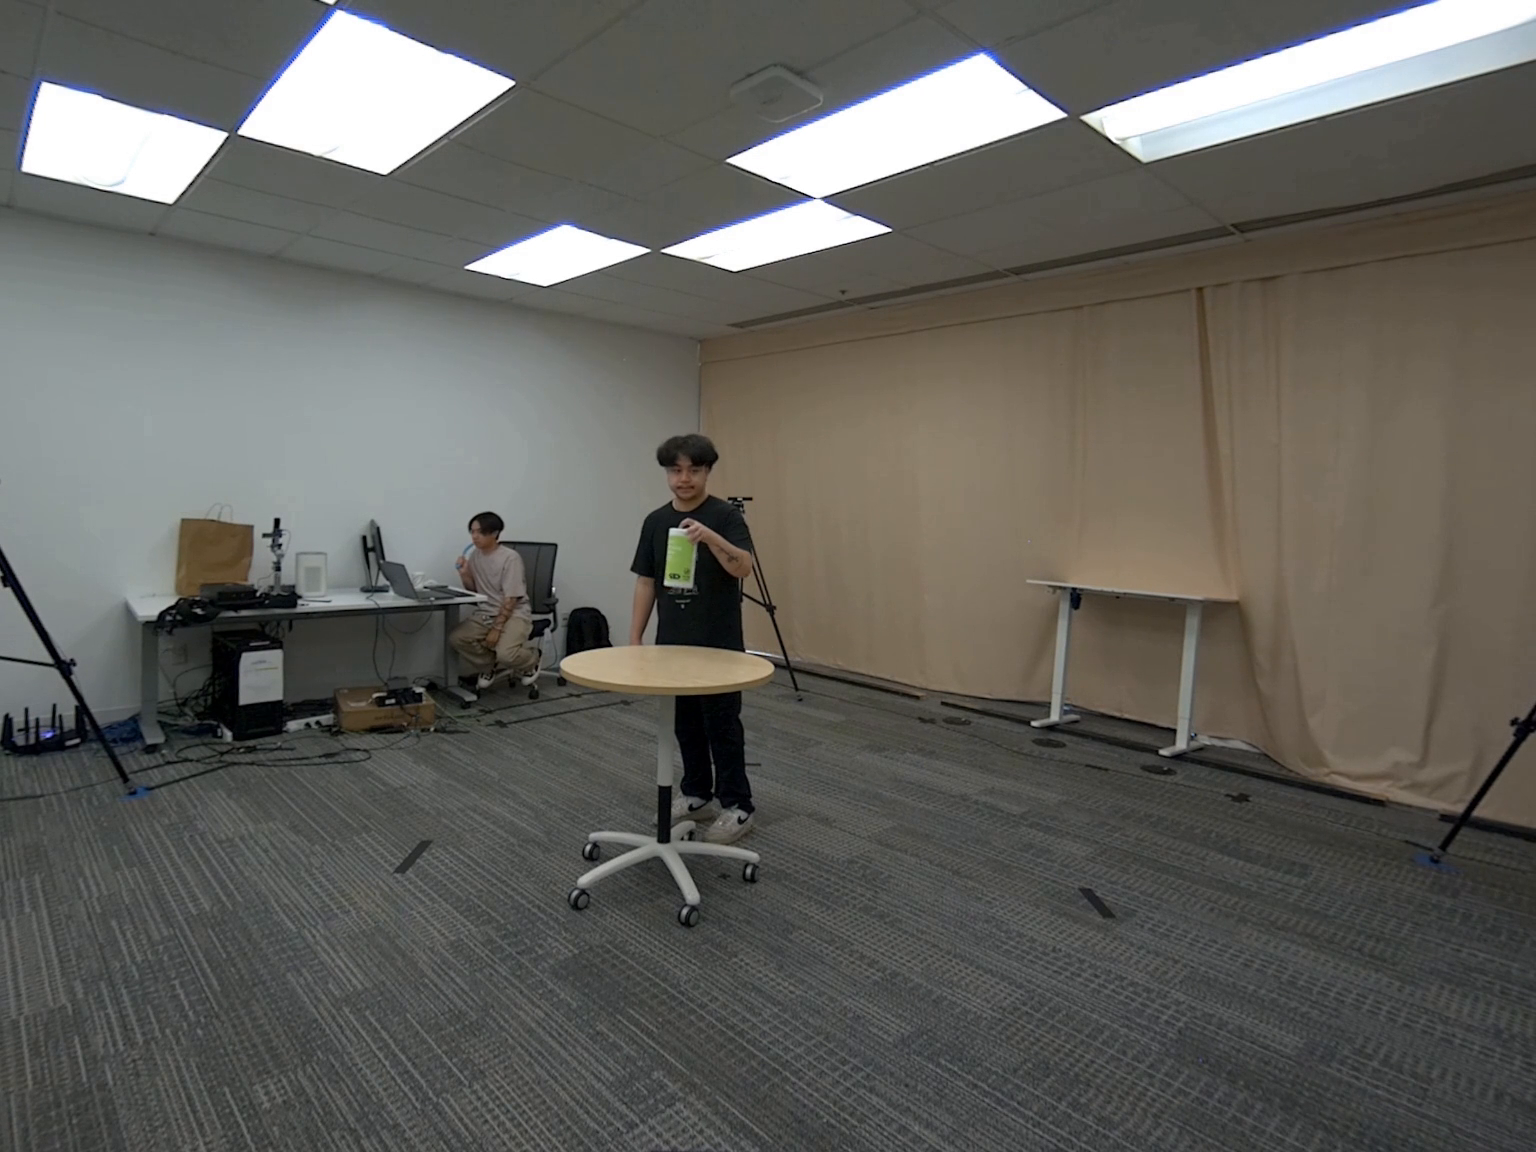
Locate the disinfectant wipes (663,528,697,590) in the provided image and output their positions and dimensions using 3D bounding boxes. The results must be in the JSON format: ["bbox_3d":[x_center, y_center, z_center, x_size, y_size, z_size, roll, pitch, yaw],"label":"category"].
[{"bbox_3d":[-0.336,-0.062,3.116,0.118,0.217,0.118,4,-1,-1],"label":"disinfectant wipes"}]
